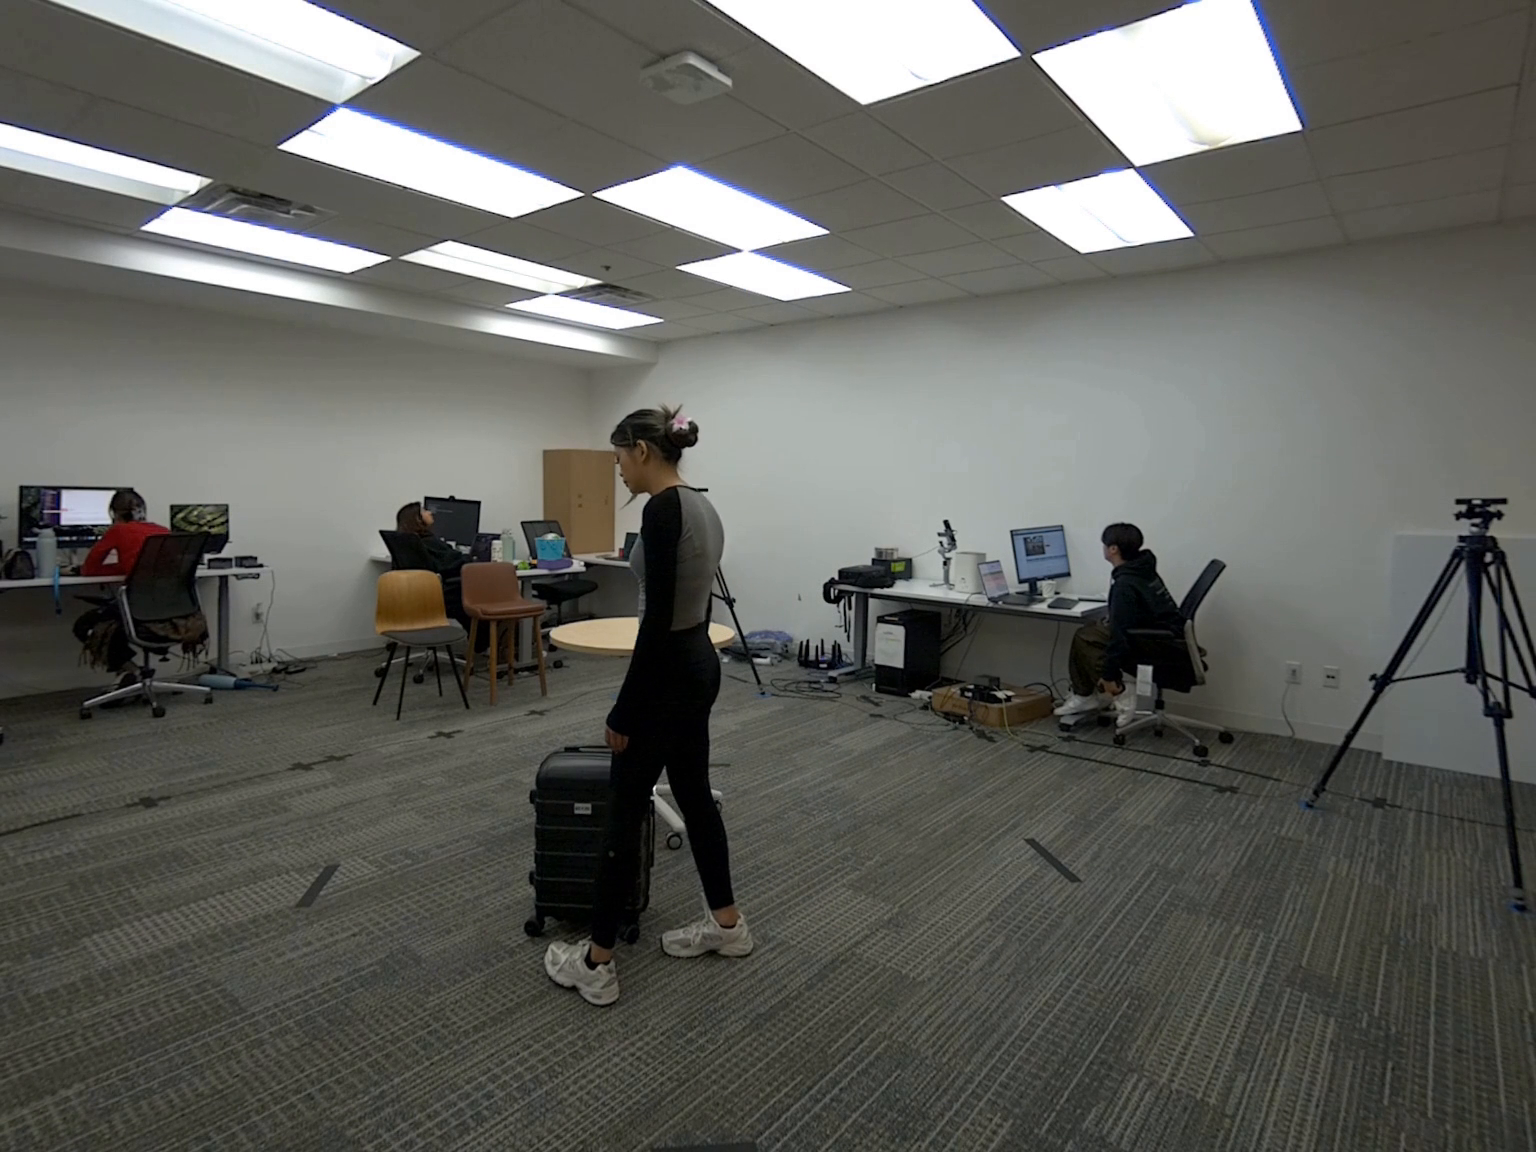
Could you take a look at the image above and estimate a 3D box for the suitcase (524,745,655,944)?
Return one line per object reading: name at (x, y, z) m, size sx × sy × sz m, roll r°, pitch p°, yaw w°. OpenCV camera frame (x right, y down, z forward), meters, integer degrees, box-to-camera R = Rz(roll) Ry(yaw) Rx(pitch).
suitcase at (-0.568, 0.835, 2.705) m, size 0.376 × 0.547 × 0.249 m, roll 2°, pitch 4°, yaw 1°
